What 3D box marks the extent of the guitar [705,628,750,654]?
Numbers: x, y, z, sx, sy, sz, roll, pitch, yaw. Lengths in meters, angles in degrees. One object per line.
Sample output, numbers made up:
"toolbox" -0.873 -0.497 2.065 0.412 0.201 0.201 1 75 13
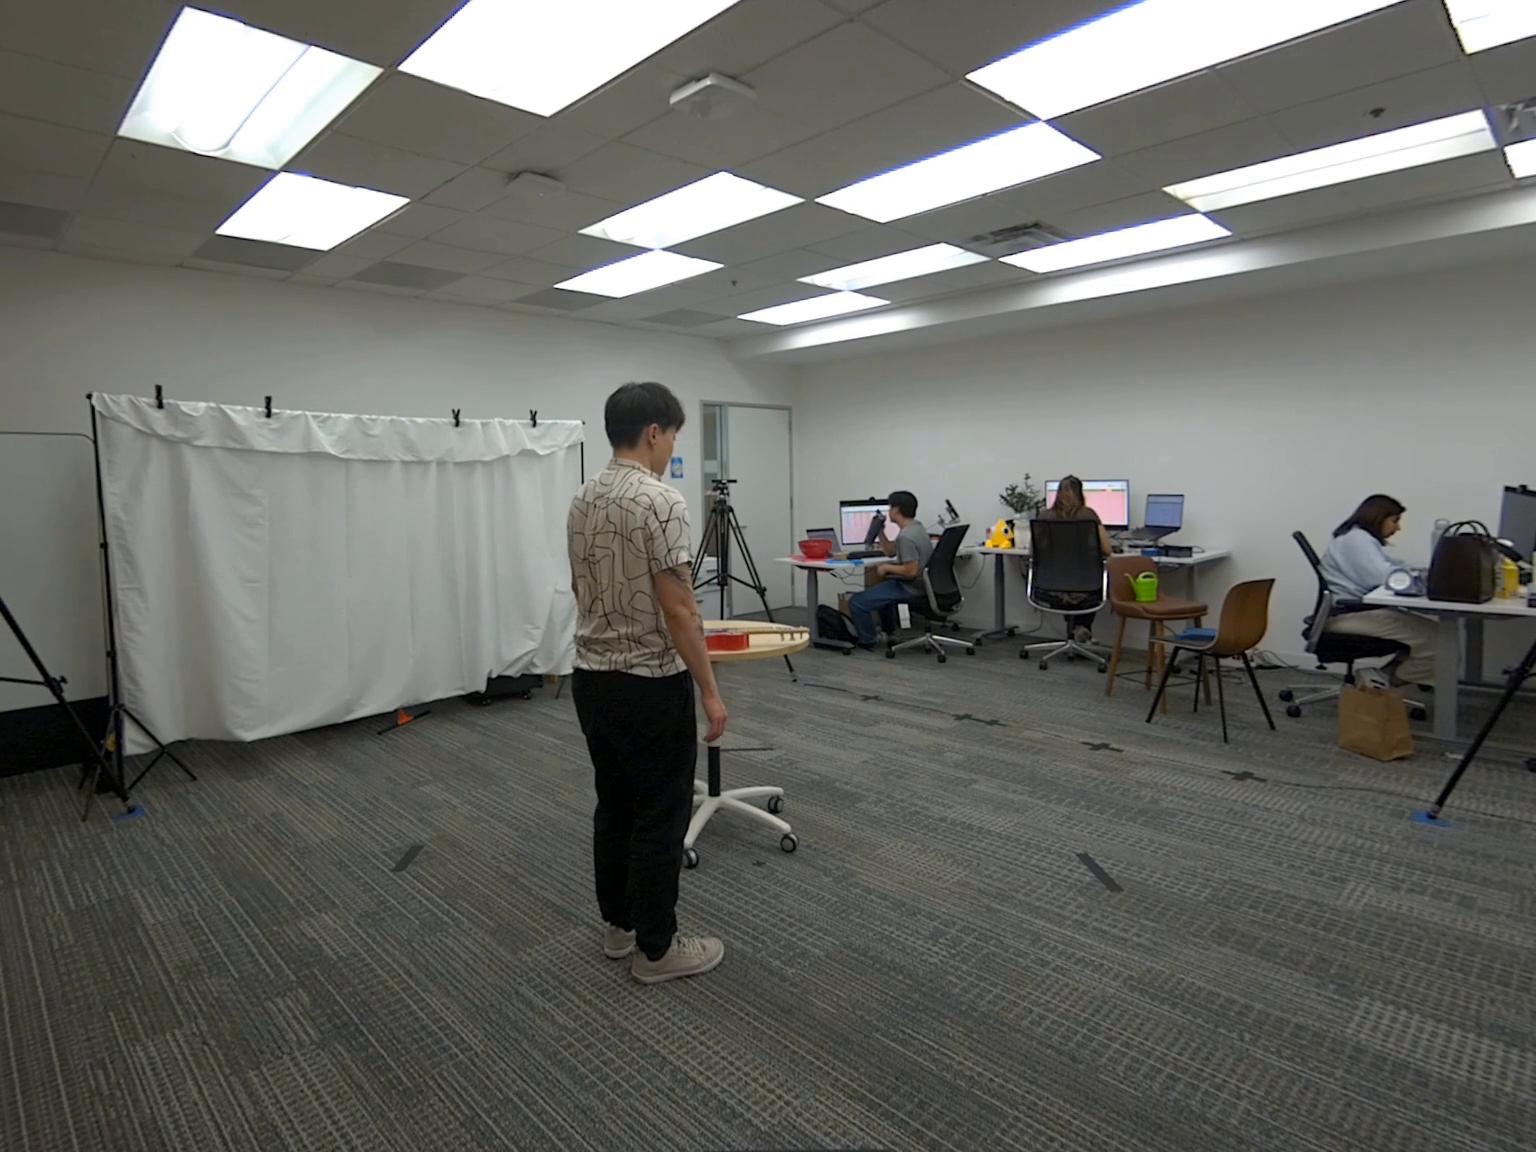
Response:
"guitar" -0.104 0.234 3.093 0.499 0.070 0.193 0 6 3
